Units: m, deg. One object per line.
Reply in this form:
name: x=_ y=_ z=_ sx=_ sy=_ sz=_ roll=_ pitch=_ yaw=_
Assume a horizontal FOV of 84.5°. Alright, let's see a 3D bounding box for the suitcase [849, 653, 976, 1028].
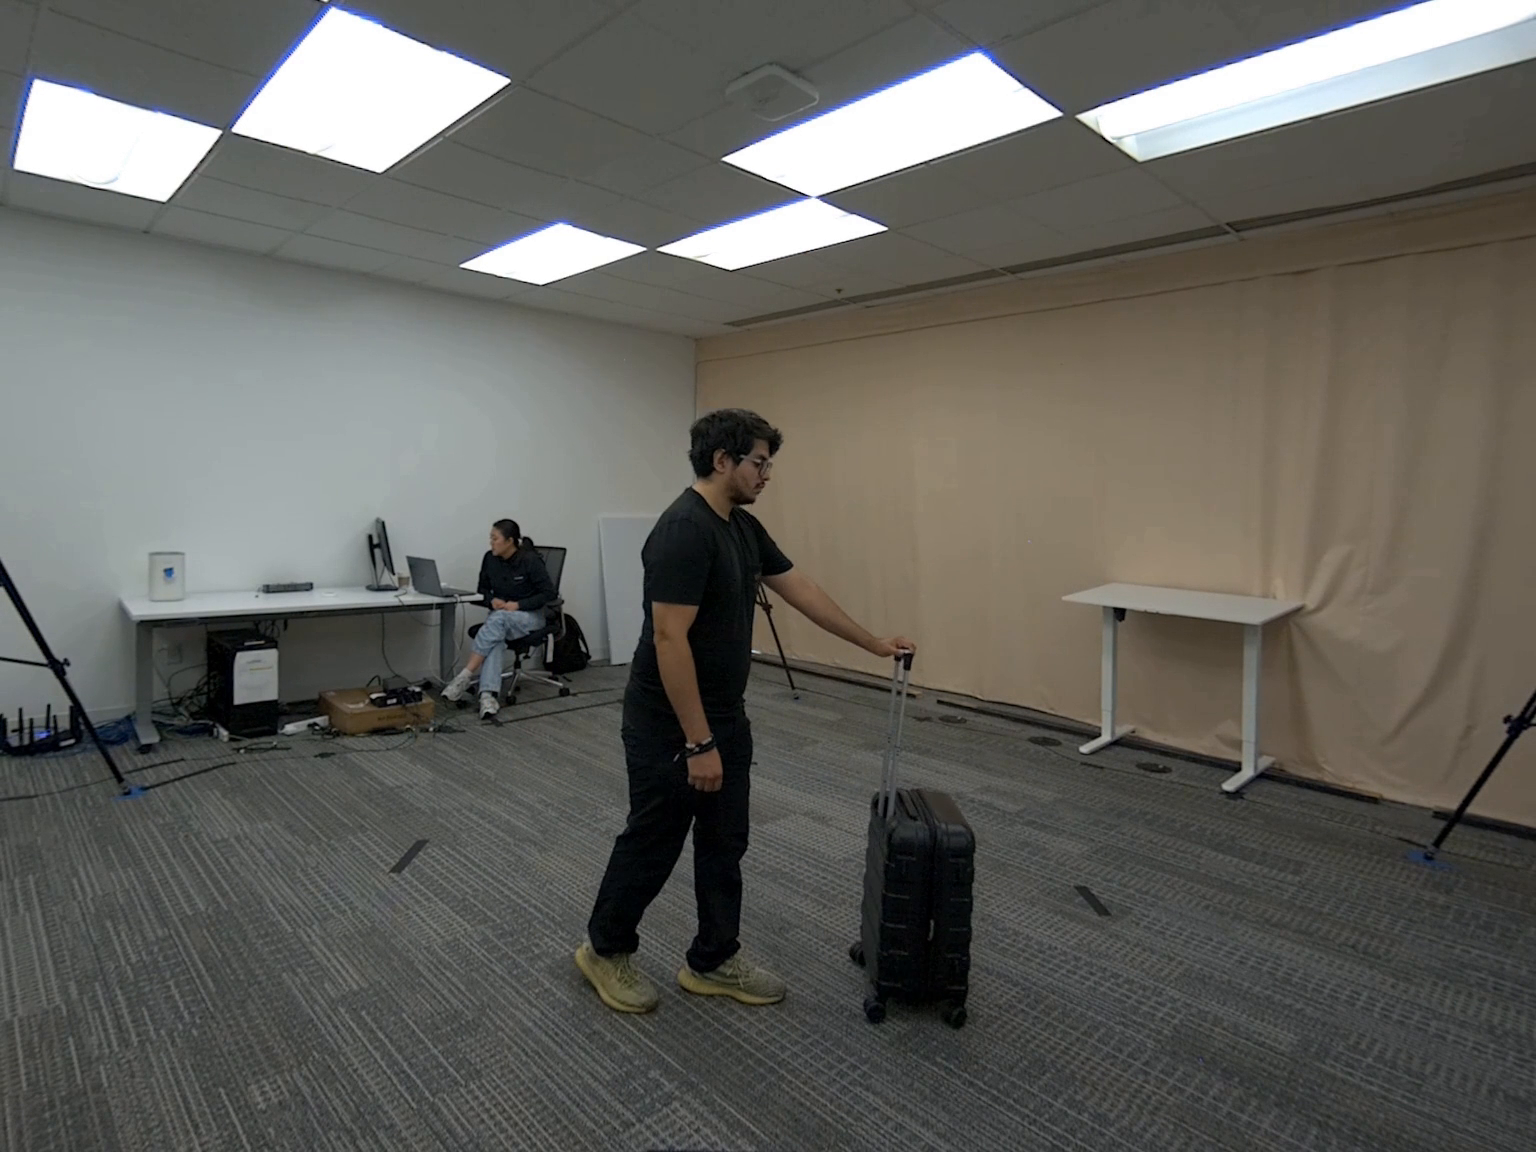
suitcase: x=0.434 y=0.707 z=2.381 sx=0.258 sy=0.976 sz=0.384 roll=6 pitch=3 yaw=2
